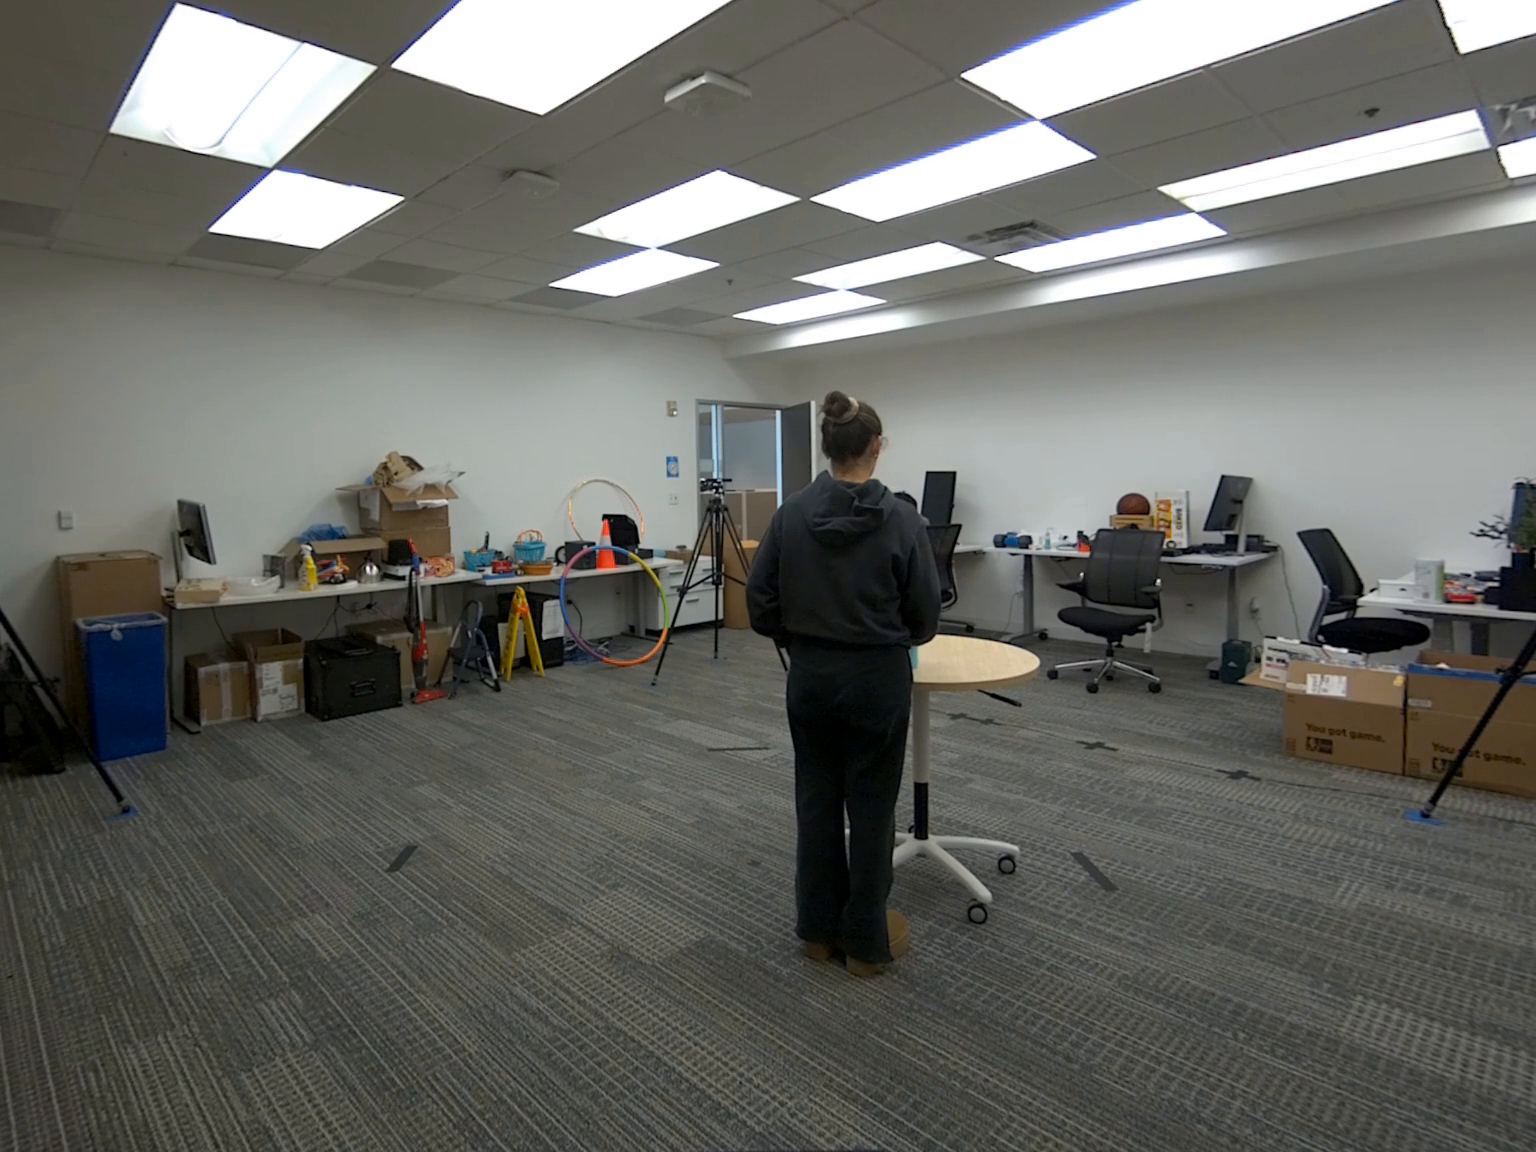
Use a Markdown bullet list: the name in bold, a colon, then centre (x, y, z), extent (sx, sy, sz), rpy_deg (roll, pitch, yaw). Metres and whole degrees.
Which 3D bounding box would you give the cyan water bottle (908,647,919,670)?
- **cyan water bottle**: centre (0.442, 0.153, 2.738), extent (0.092, 0.282, 0.093), rpy_deg (-2, 5, -1)
